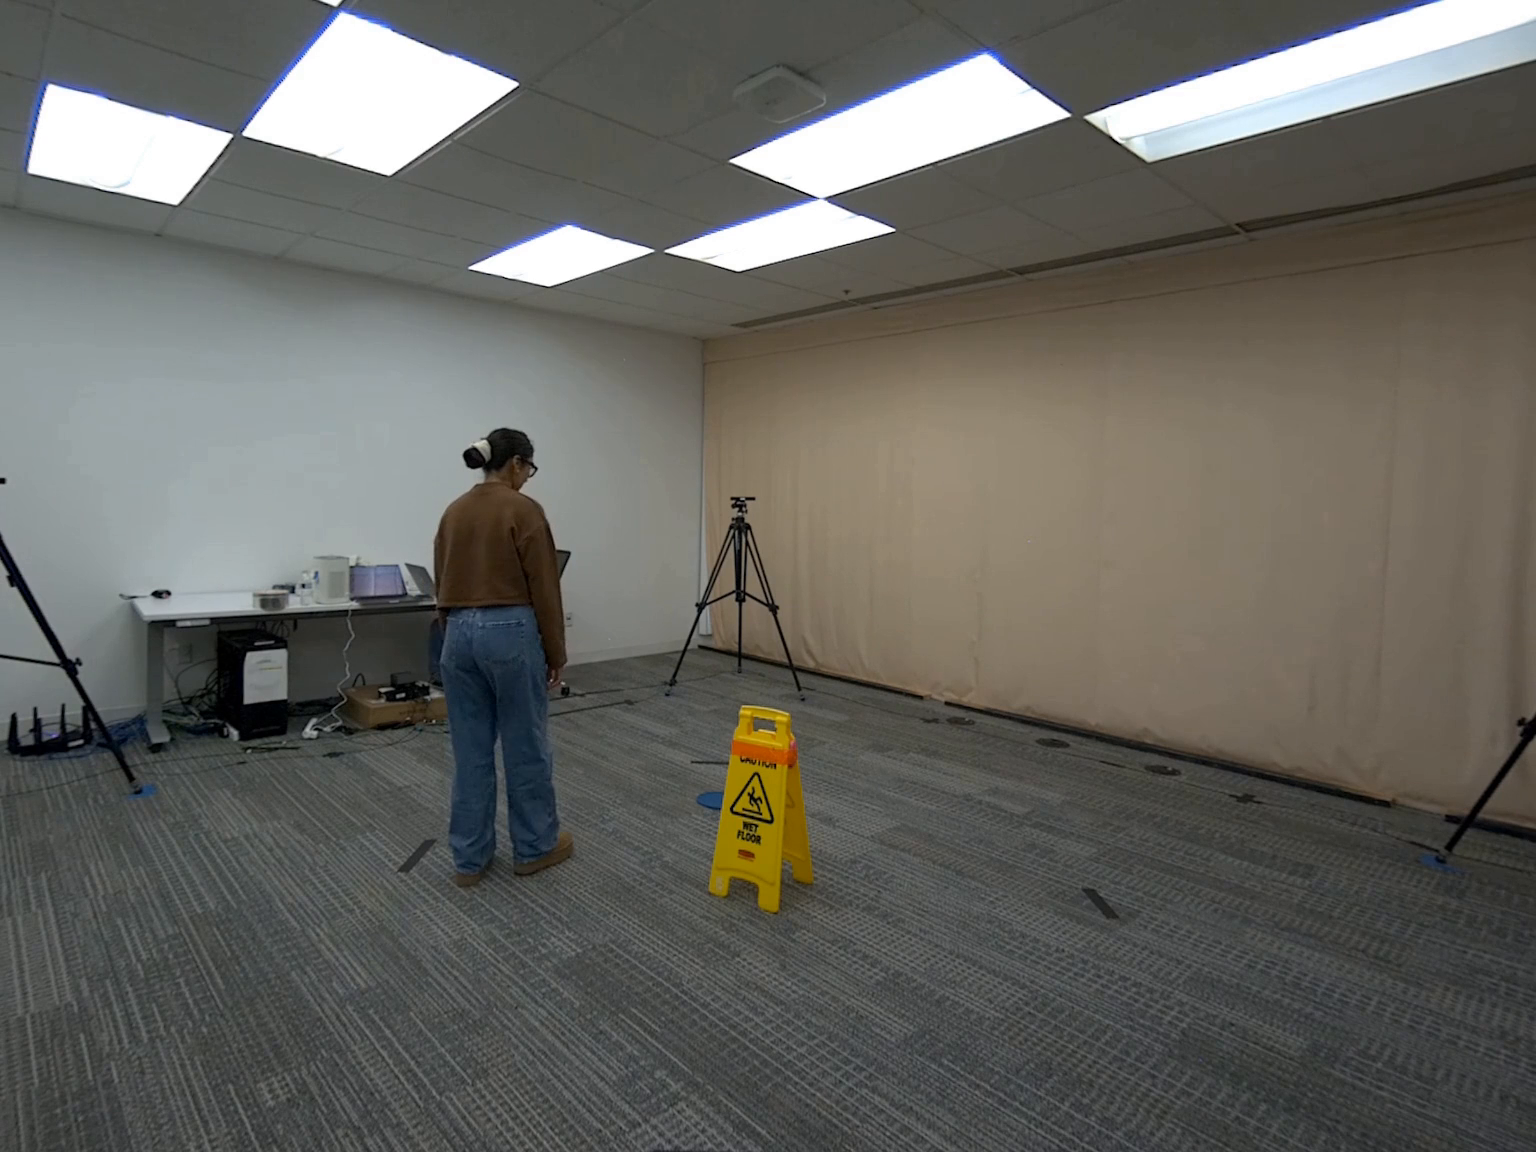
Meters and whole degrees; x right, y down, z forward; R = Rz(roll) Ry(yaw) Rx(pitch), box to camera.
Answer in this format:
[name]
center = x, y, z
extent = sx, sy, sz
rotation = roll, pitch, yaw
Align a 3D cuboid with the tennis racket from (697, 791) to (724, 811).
[tennis racket]
center = -0.138, 1.032, 3.817
extent = 0.442, 0.031, 0.210
rotation = 4, 6, 31
